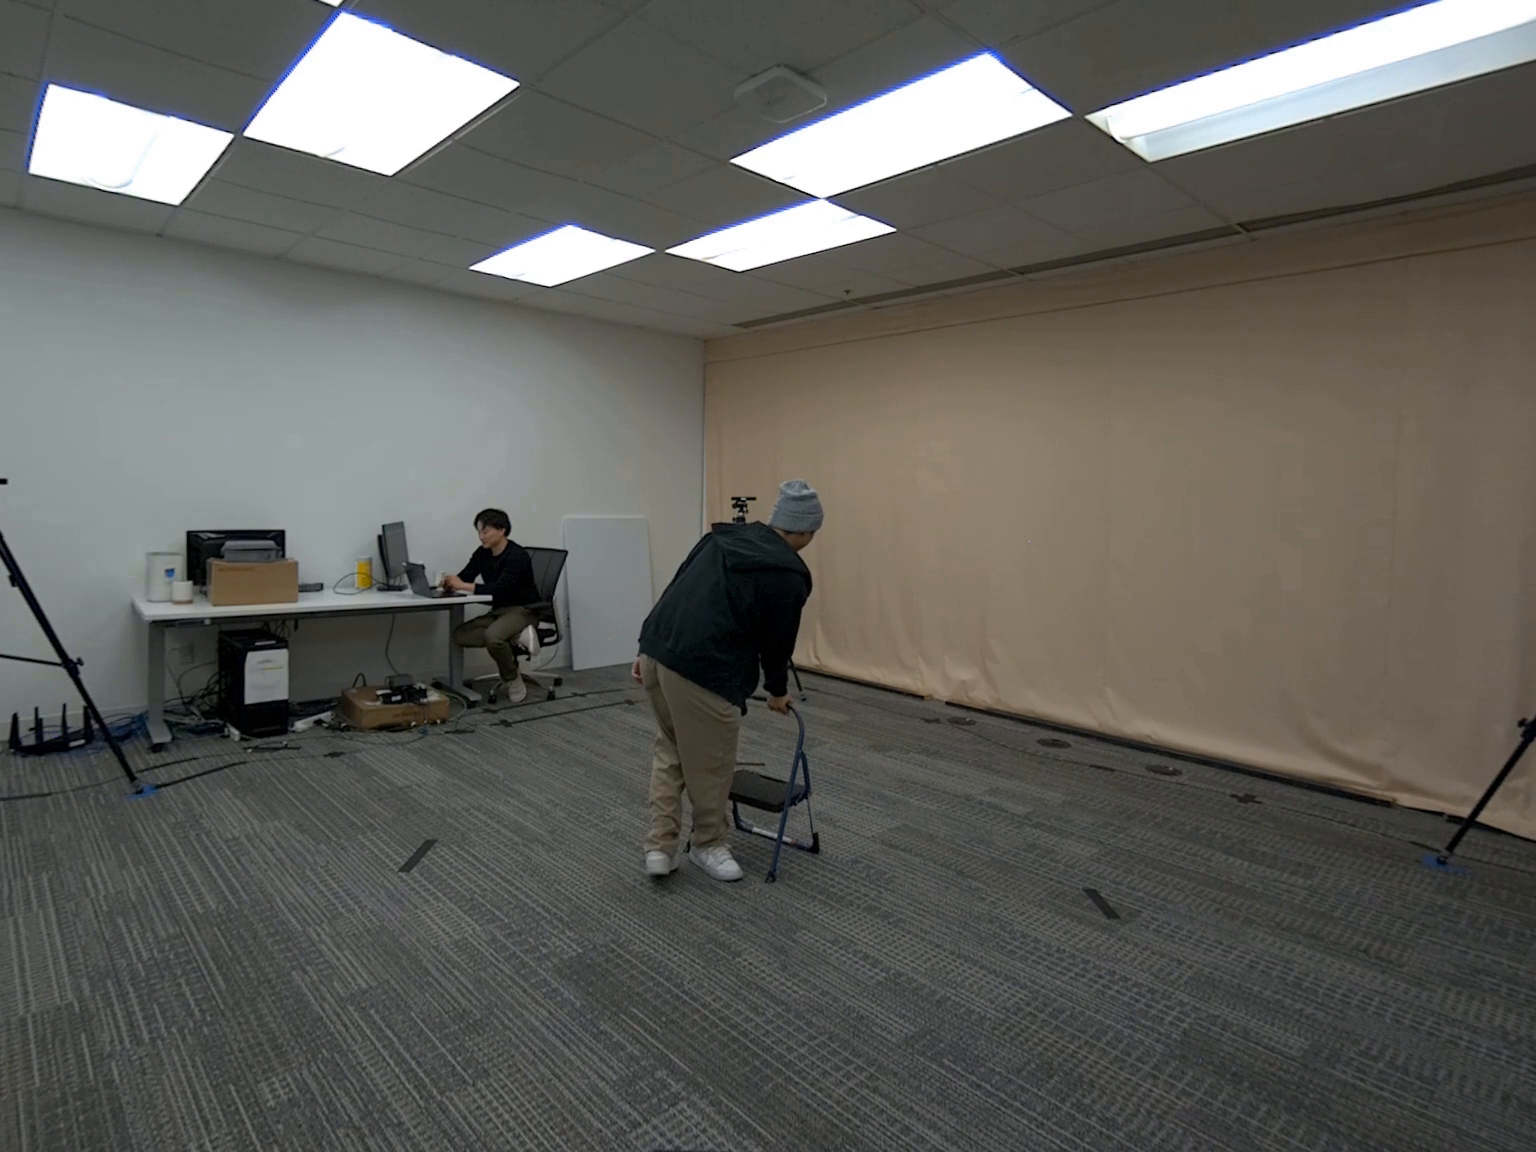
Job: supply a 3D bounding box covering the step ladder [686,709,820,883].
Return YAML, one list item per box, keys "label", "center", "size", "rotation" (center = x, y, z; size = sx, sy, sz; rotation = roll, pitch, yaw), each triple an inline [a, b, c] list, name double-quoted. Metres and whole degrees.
- label: "step ladder"
  center: [-0.055, 0.789, 3.309]
  size: [0.441, 0.605, 0.342]
  rotation: [4, 4, 36]
